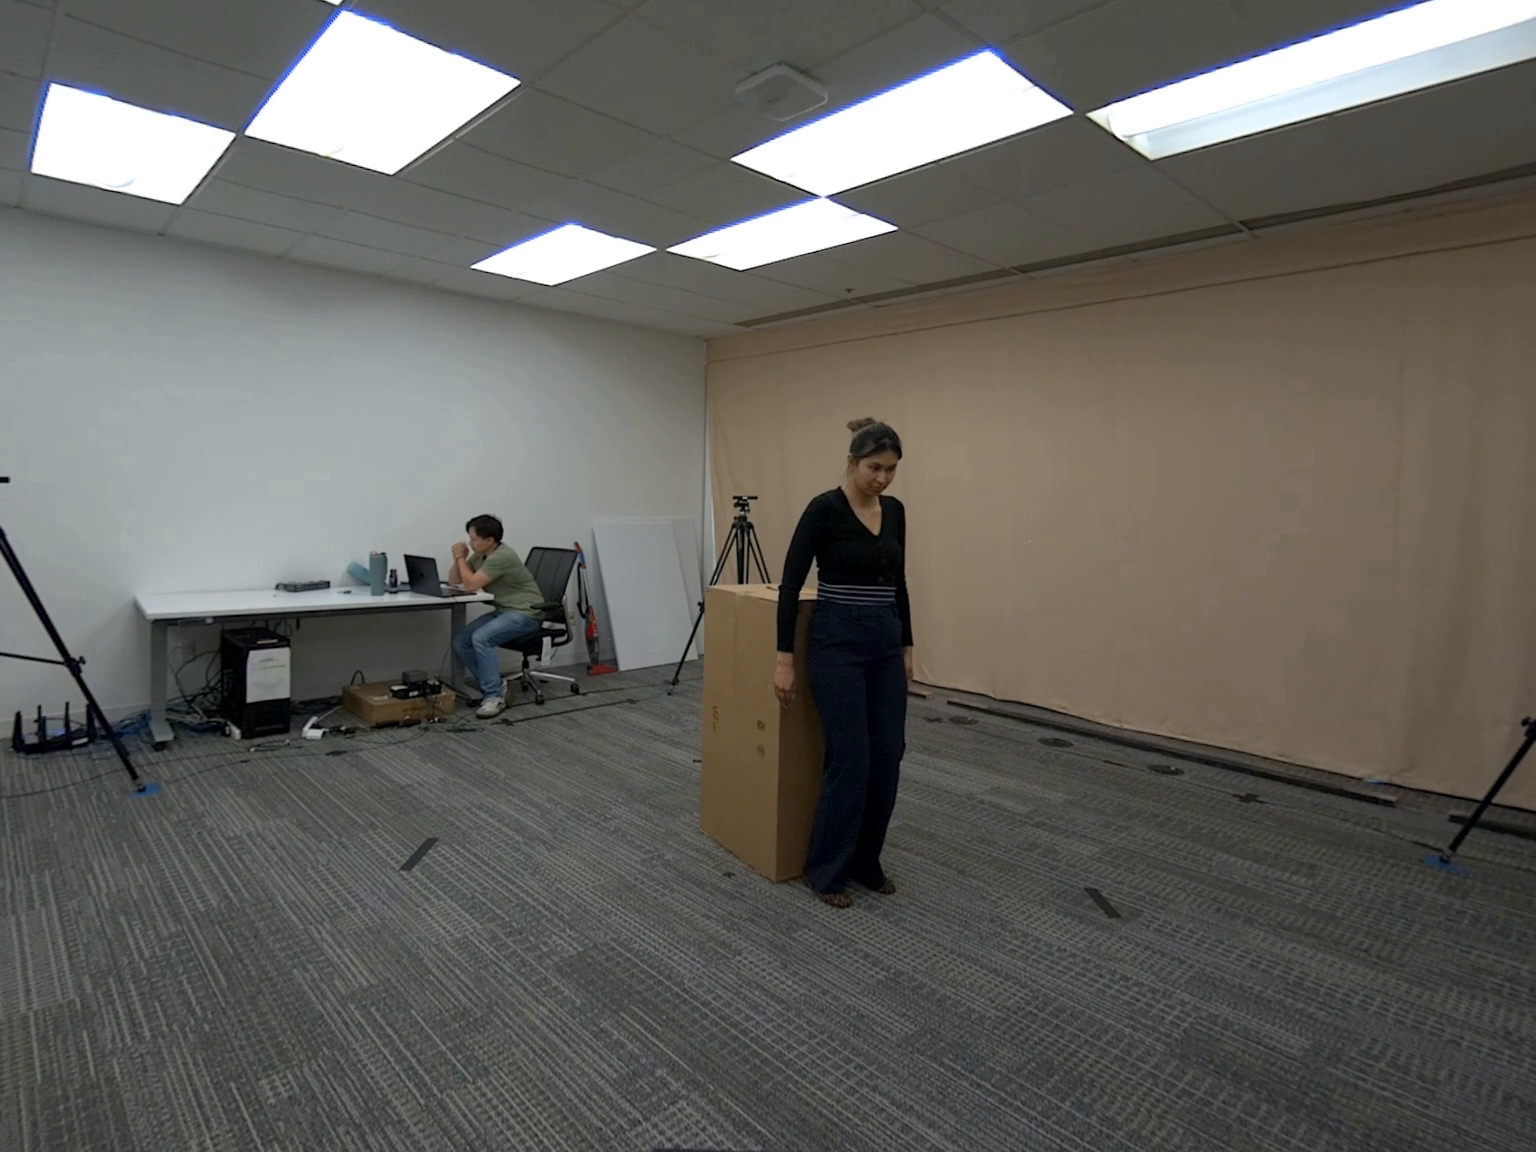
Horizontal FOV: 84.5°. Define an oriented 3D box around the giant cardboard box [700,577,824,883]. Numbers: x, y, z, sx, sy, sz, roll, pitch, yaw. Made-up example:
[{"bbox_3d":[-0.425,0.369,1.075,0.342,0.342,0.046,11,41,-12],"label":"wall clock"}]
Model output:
[{"bbox_3d":[0.047,0.575,3.370,0.417,1.024,0.591,0,3,-32],"label":"giant cardboard box"}]
